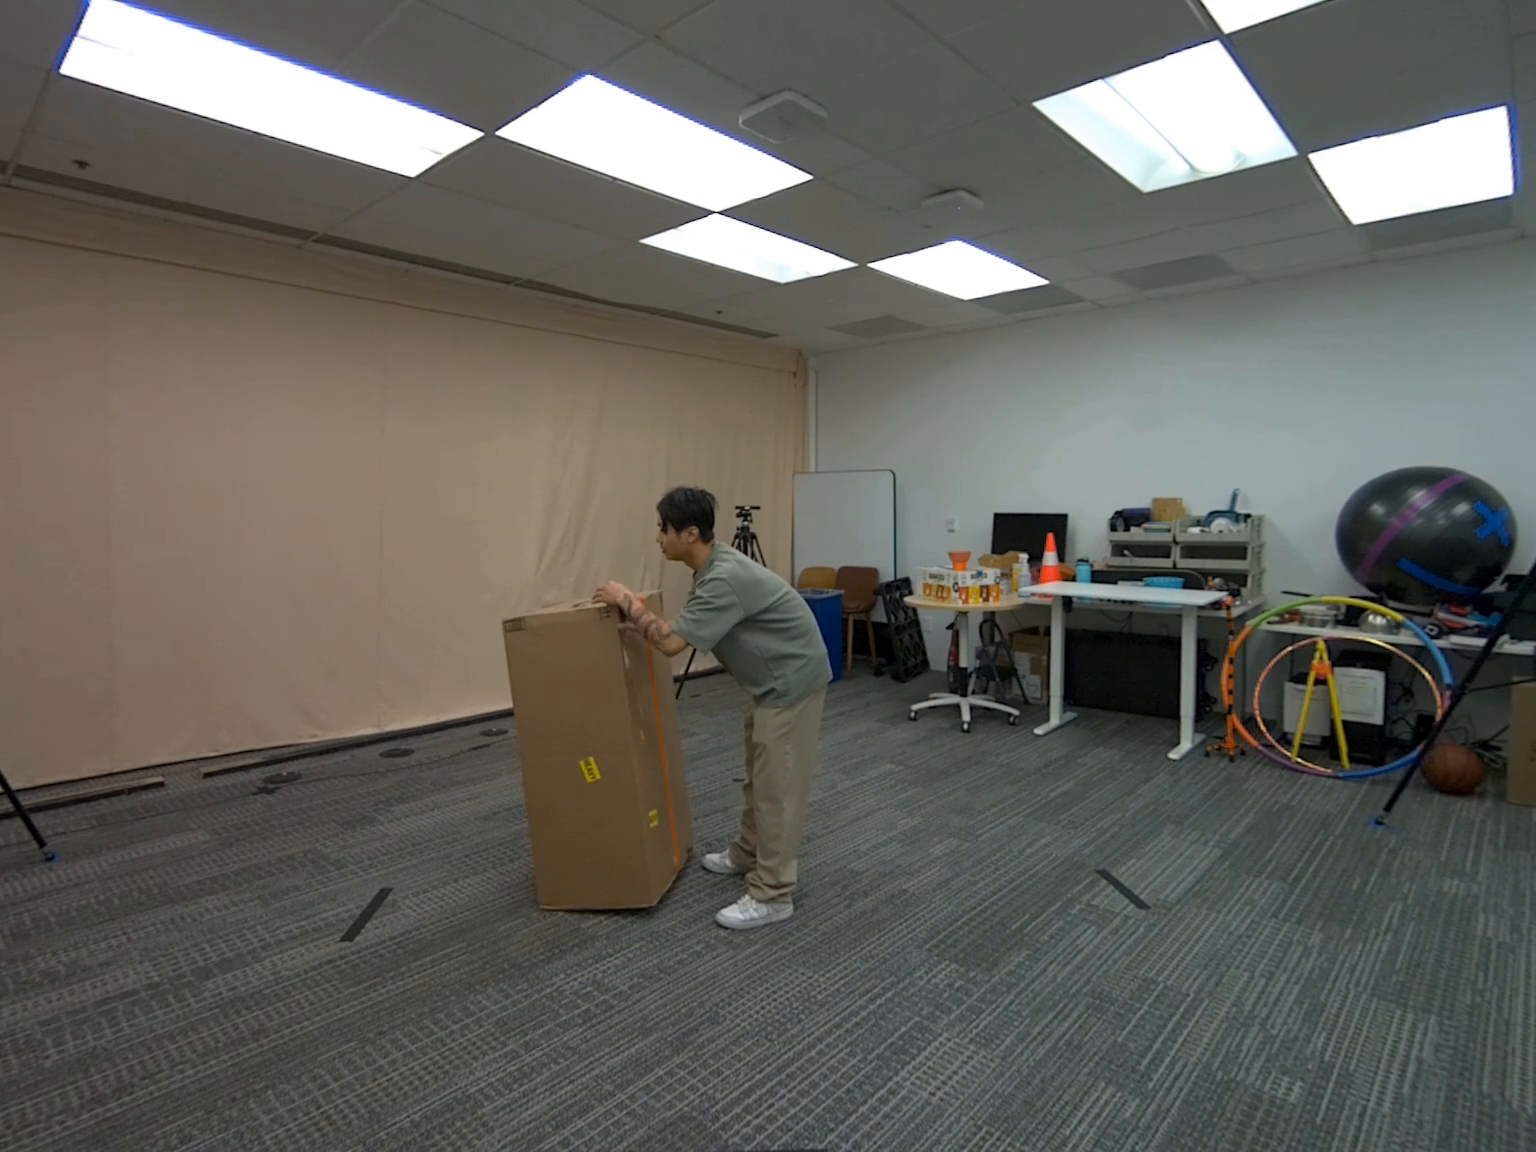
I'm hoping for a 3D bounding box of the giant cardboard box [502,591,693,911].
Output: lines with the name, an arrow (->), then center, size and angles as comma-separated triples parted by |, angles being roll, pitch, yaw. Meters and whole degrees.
giant cardboard box -> -0.608, 0.610, 3.145 | 0.431, 1.025, 0.571 | -7, 1, 11
